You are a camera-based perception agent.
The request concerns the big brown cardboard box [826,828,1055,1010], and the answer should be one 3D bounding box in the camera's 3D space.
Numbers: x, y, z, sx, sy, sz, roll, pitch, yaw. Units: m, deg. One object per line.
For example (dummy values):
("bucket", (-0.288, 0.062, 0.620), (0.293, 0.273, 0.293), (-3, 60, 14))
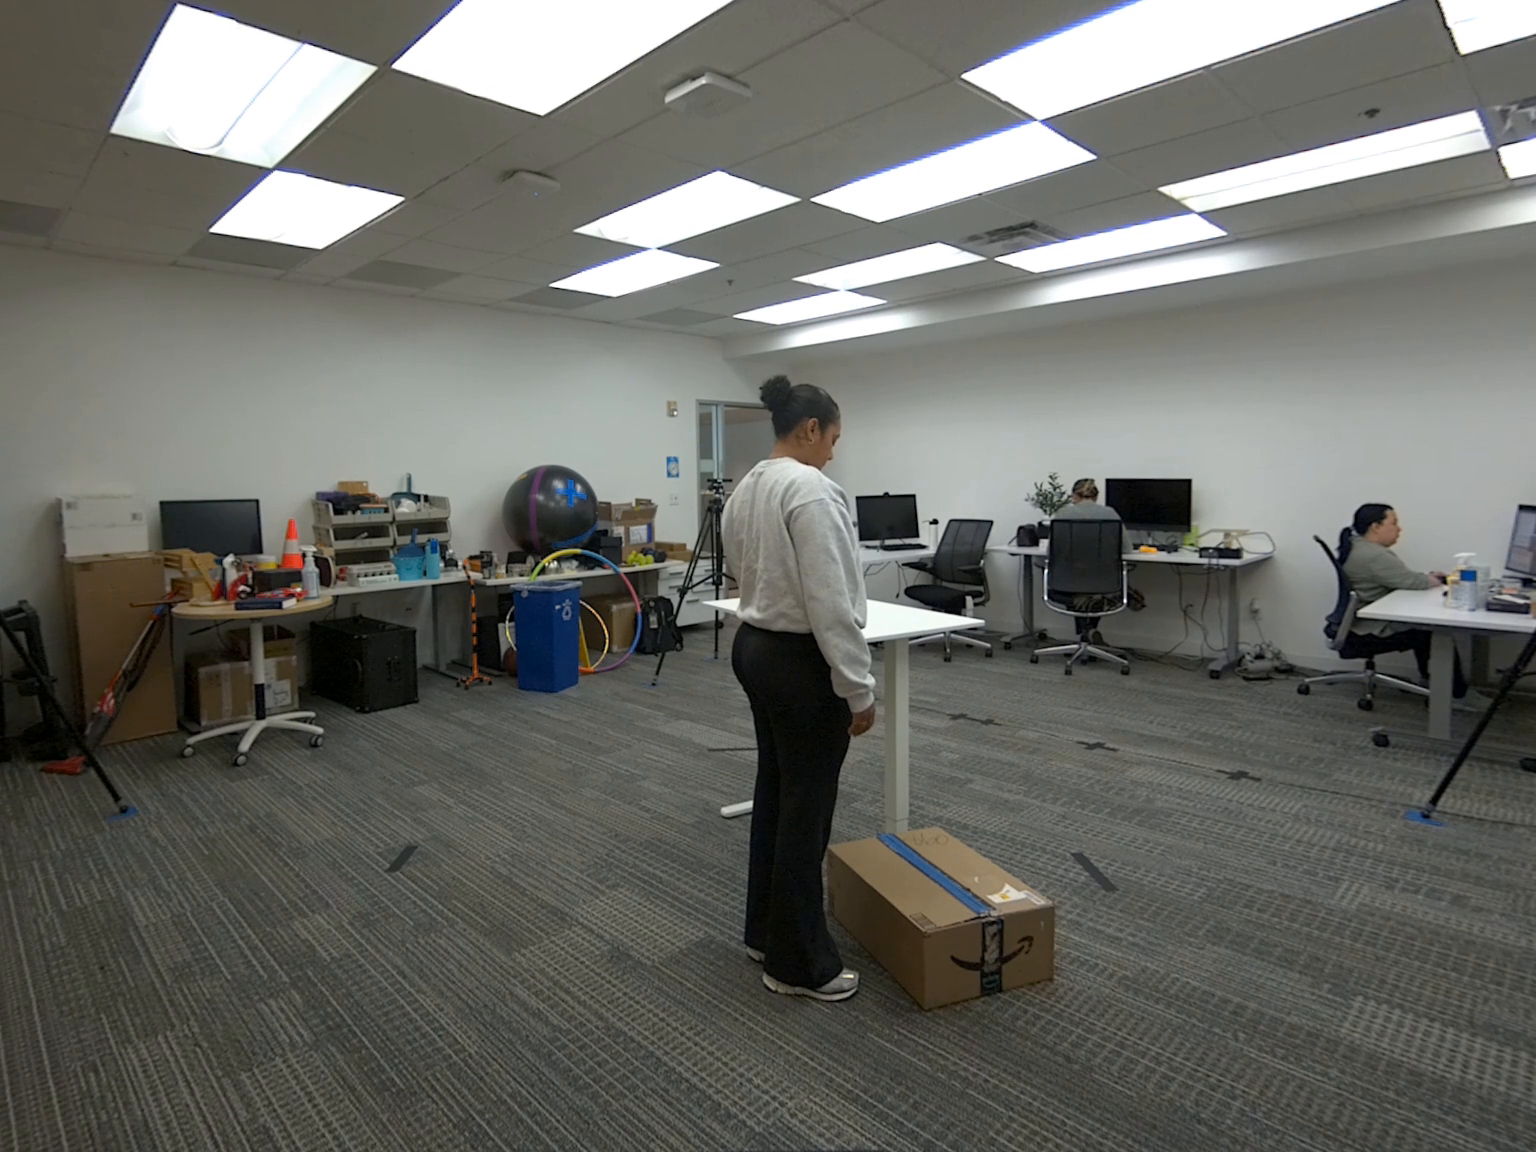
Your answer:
("big brown cardboard box", (0.498, 0.991, 2.549), (0.410, 0.232, 0.602), (-3, 6, -22))
